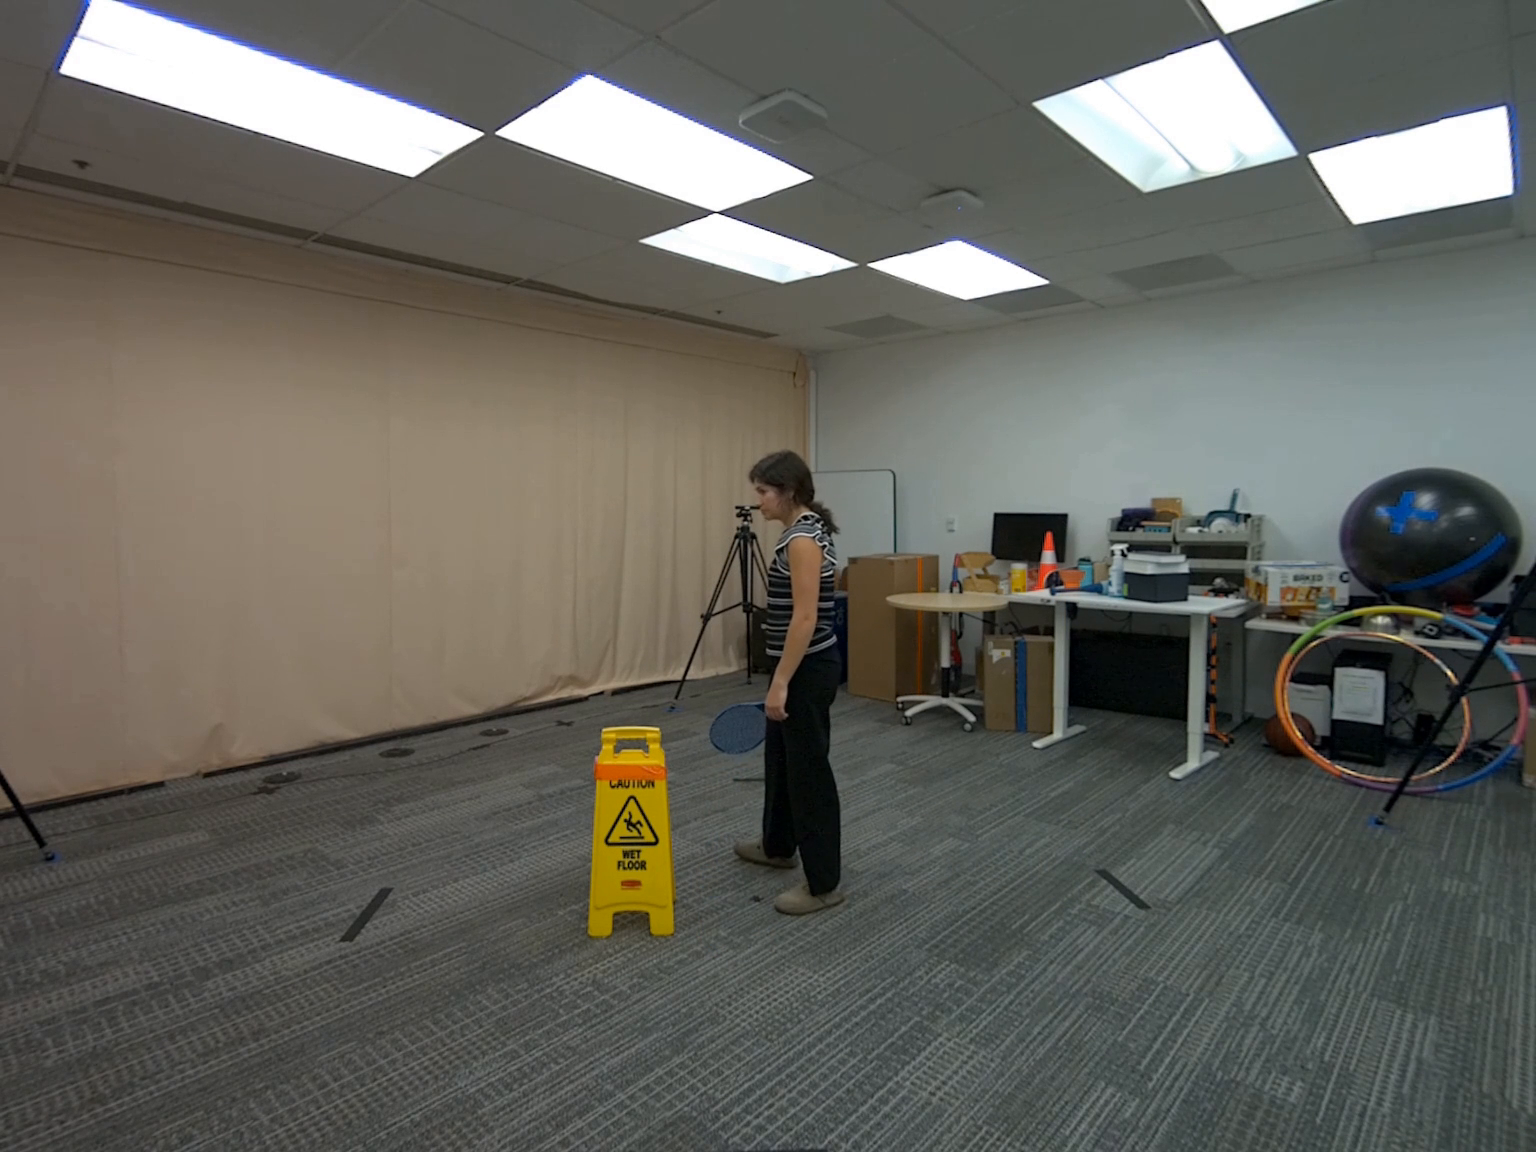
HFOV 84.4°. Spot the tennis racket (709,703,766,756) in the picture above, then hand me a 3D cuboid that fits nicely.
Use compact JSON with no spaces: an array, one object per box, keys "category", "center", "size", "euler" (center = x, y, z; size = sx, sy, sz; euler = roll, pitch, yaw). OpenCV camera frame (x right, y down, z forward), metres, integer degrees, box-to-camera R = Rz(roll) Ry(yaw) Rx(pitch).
[{"category":"tennis racket","center":[-0.057,0.551,3.265],"size":[0.211,0.435,0.032],"euler":[42,20,-10]}]
